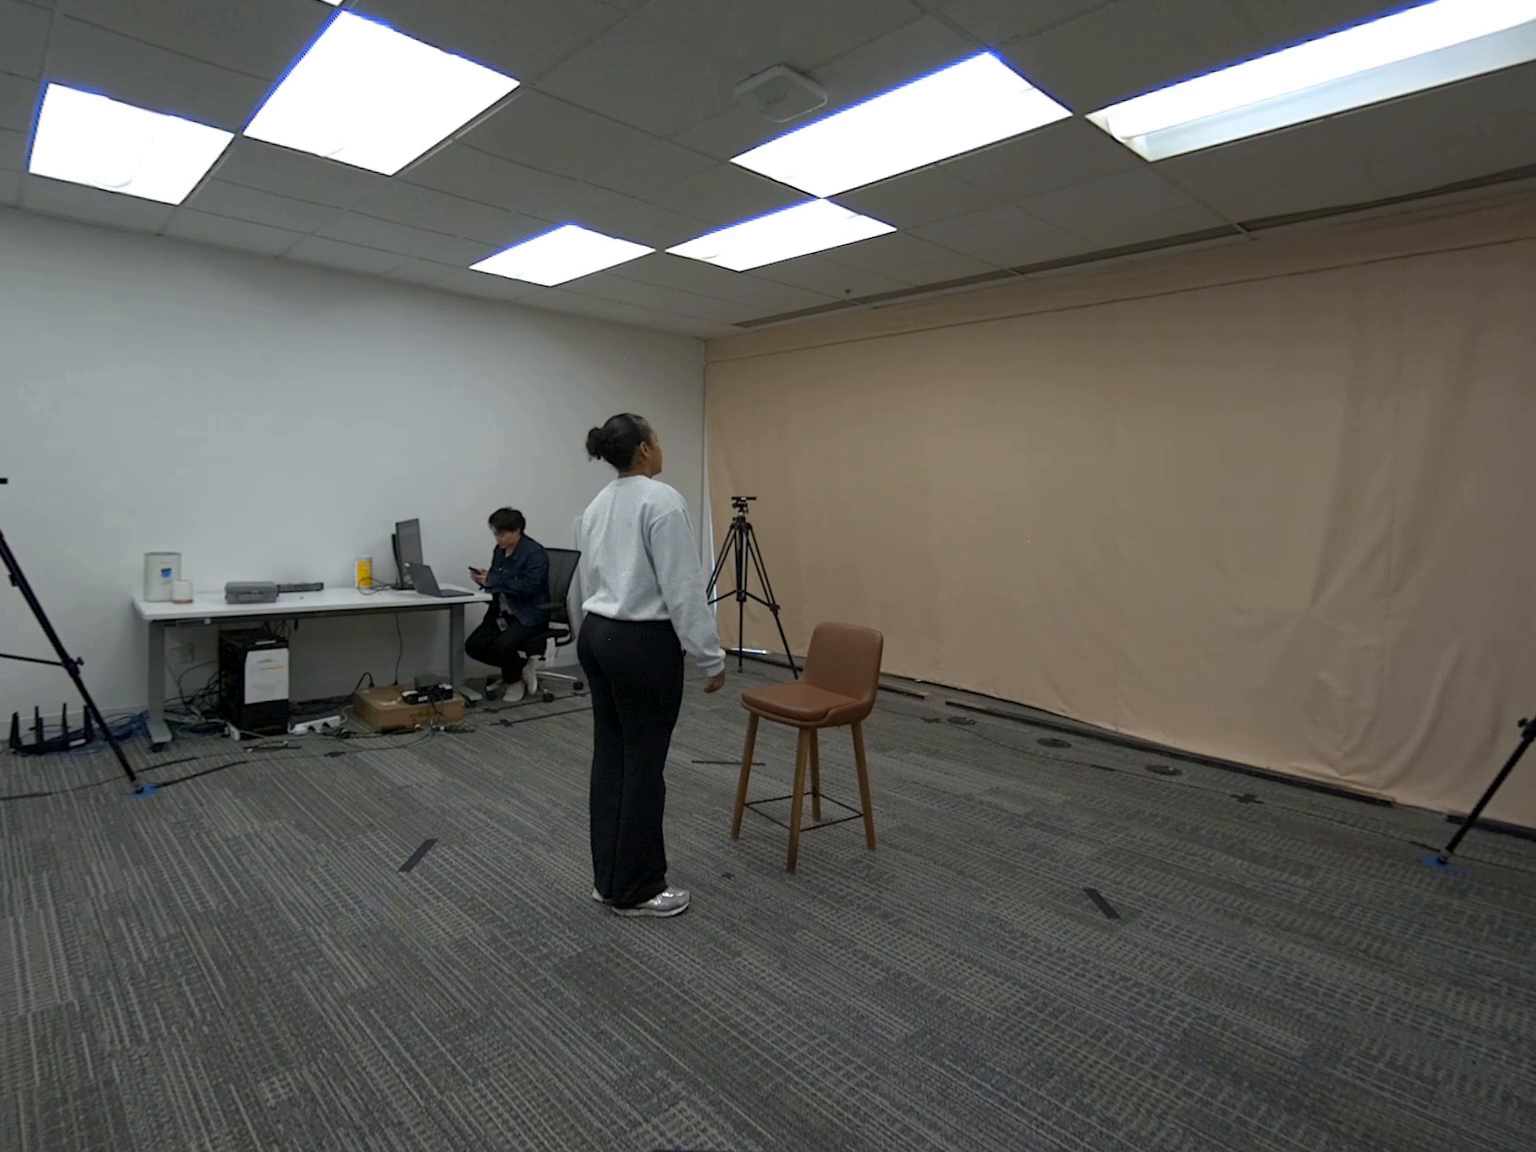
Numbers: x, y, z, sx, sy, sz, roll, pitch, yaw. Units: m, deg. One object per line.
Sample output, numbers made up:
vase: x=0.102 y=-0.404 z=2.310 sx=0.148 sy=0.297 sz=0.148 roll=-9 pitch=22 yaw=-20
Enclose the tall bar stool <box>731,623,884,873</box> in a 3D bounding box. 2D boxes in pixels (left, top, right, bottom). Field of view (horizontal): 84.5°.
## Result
tall bar stool: x=0.157 y=0.652 z=3.397 sx=0.457 sy=0.889 sz=0.467 roll=2 pitch=2 yaw=-35
